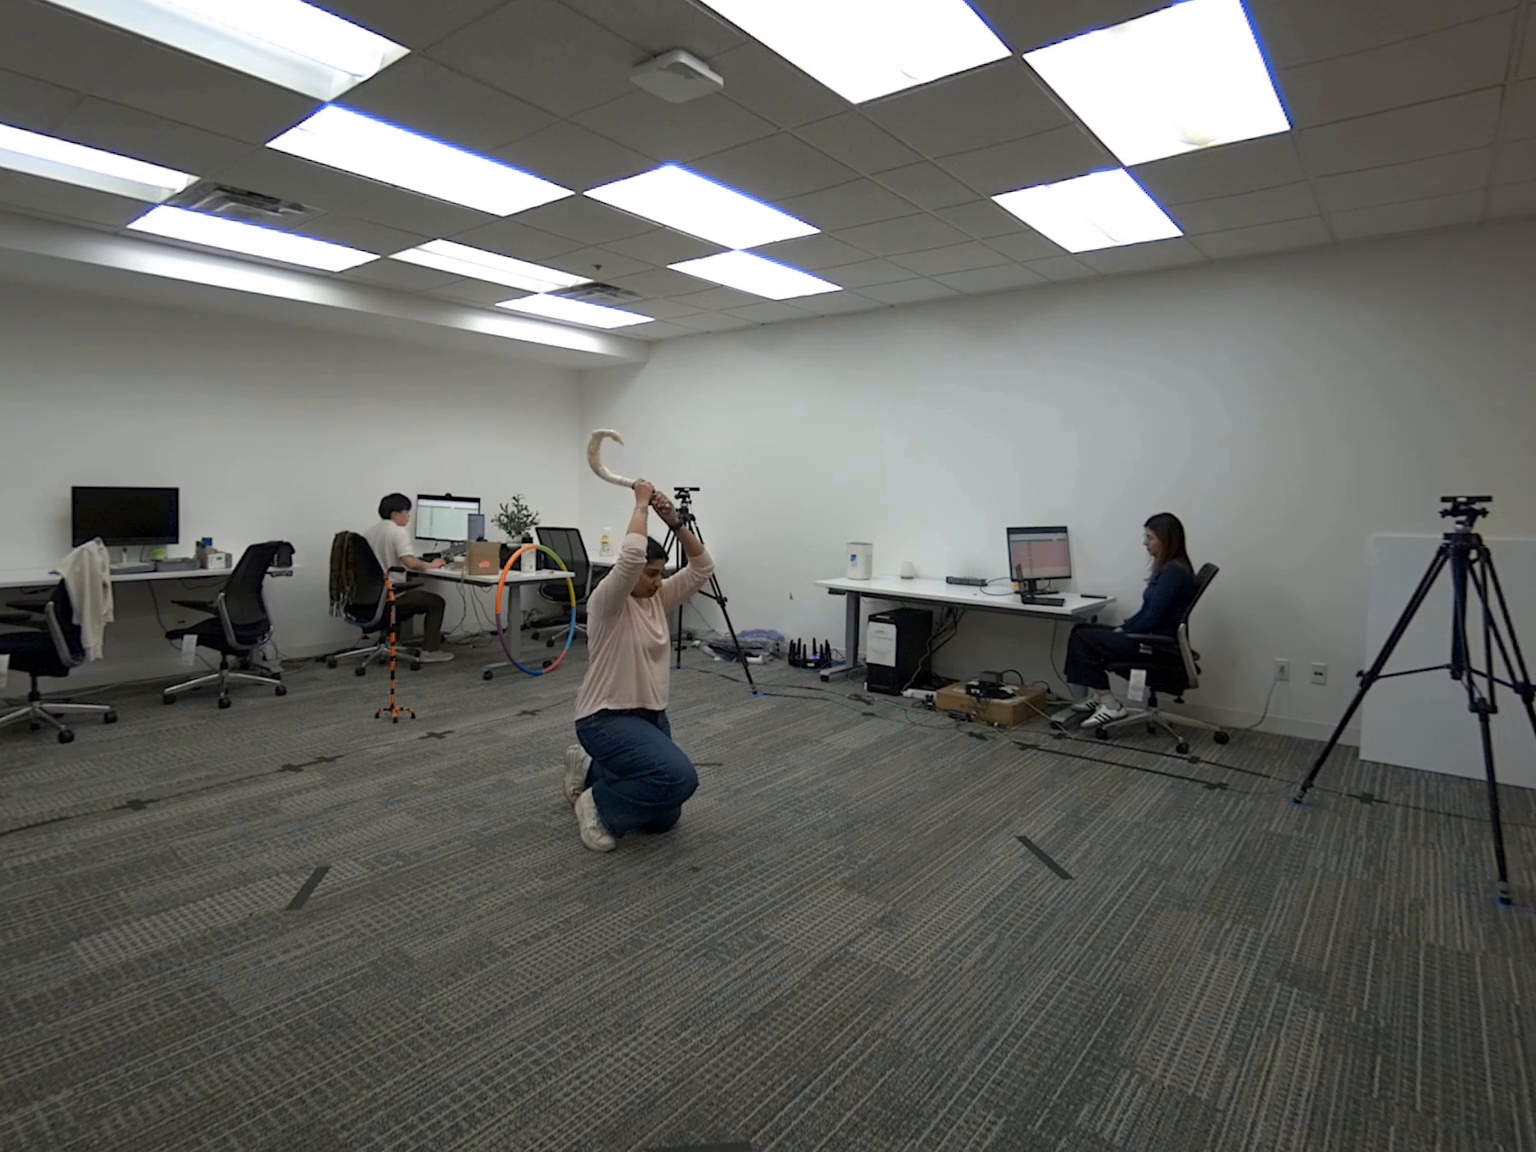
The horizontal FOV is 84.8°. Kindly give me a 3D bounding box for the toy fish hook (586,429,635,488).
[{"bbox_3d":[-0.564,-0.439,3.453,0.525,0.221,0.047,34,36,28],"label":"toy fish hook"}]
